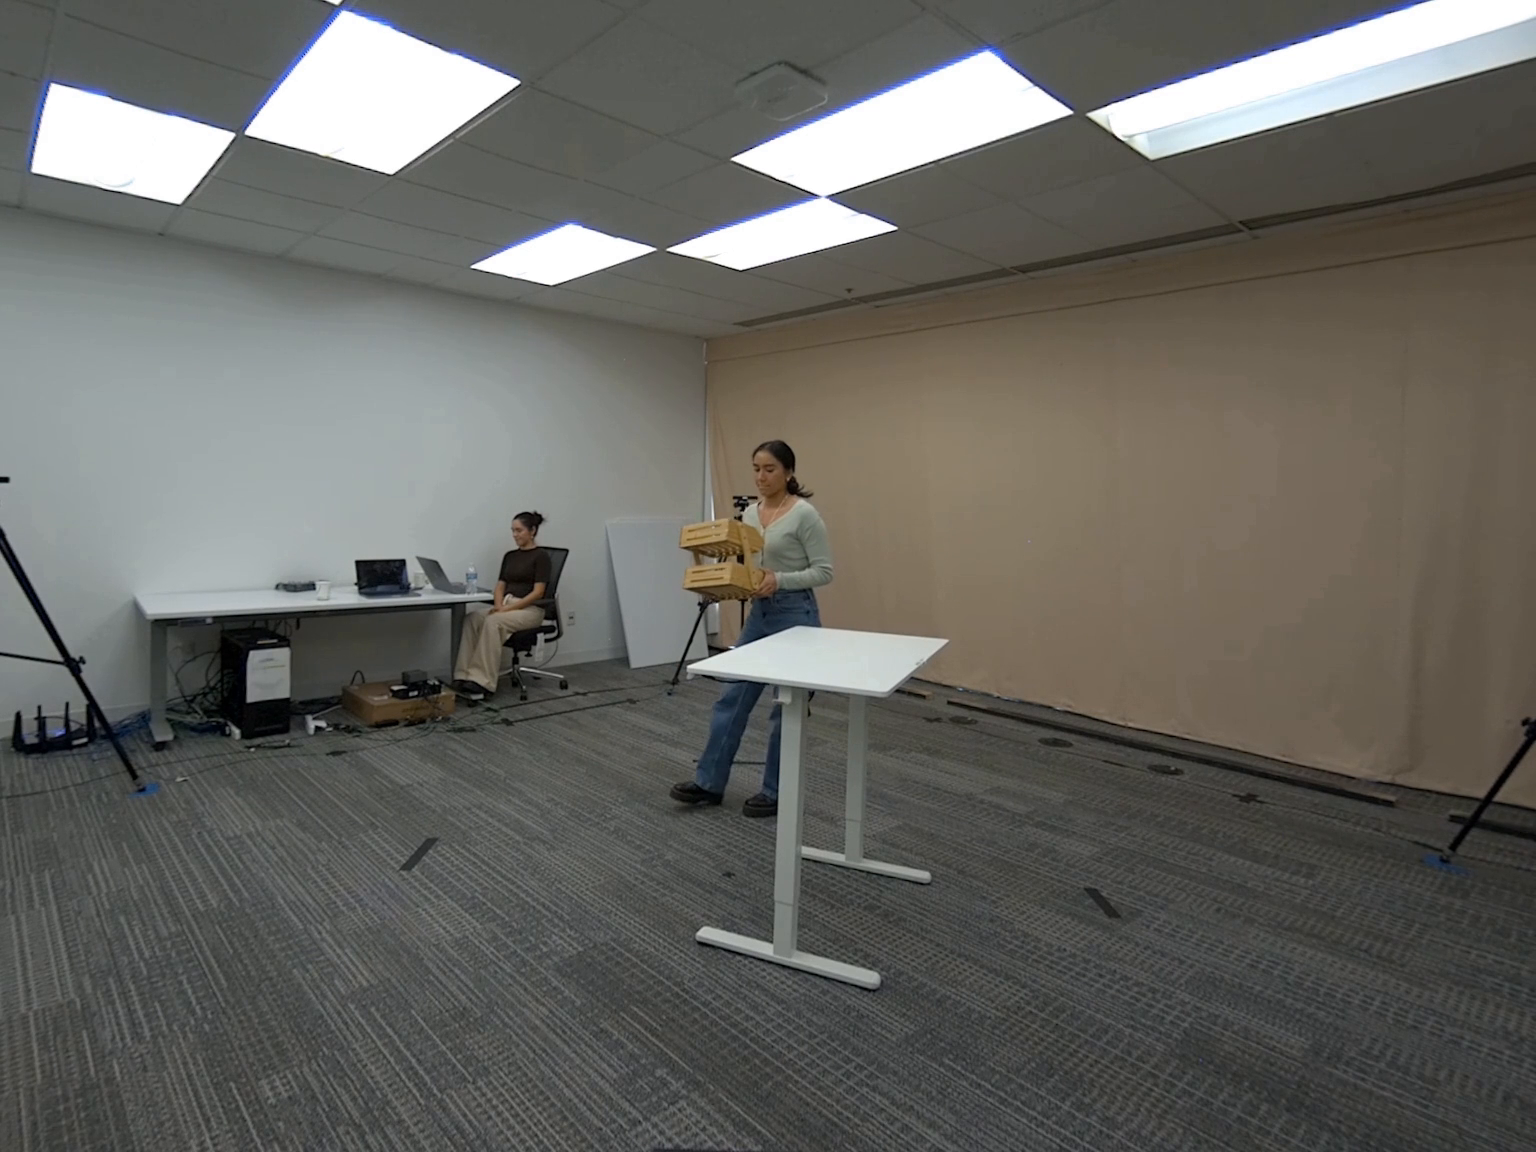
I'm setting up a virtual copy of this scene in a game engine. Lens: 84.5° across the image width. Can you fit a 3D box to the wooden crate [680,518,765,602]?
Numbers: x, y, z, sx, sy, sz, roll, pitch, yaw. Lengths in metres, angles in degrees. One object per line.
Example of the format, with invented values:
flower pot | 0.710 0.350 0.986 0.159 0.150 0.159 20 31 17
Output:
wooden crate | -0.184 -0.064 3.528 0.331 0.276 0.293 -7 -20 45
